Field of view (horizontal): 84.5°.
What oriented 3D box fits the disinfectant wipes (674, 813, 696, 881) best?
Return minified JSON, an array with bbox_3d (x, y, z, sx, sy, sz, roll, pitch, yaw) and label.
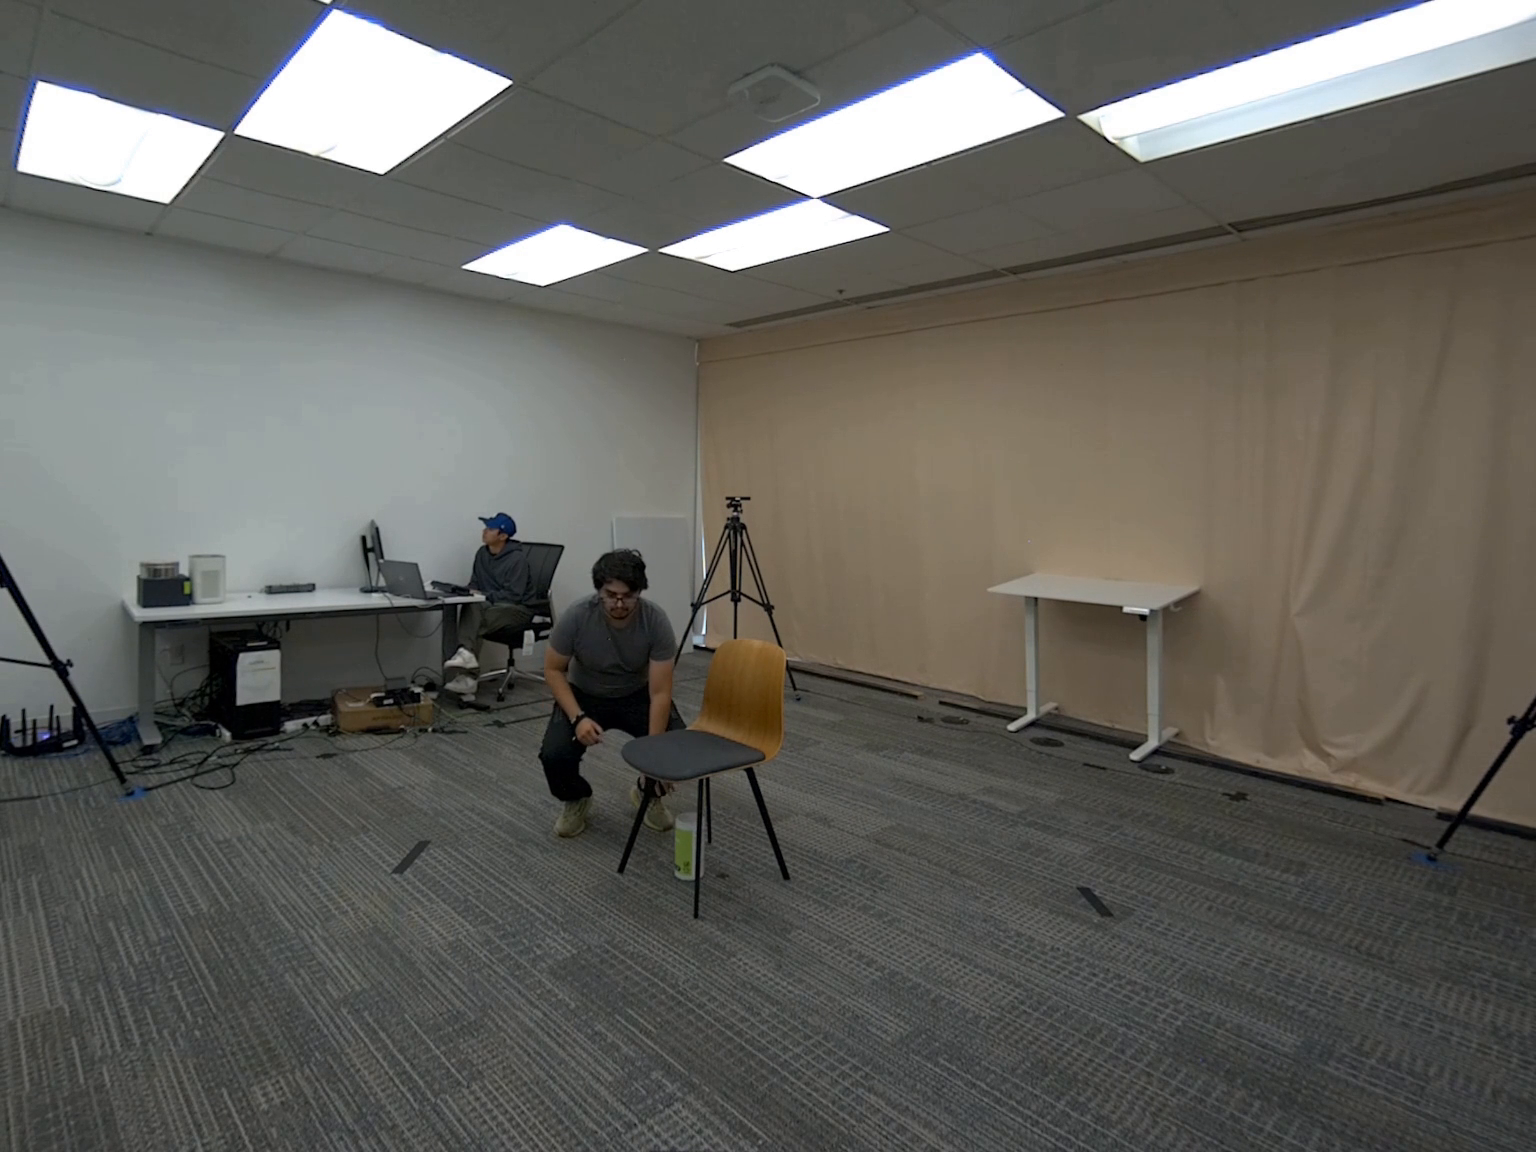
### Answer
[{"bbox_3d":[-0.301,1.006,3.106,0.118,0.217,0.118,0,2,-1],"label":"disinfectant wipes"}]
